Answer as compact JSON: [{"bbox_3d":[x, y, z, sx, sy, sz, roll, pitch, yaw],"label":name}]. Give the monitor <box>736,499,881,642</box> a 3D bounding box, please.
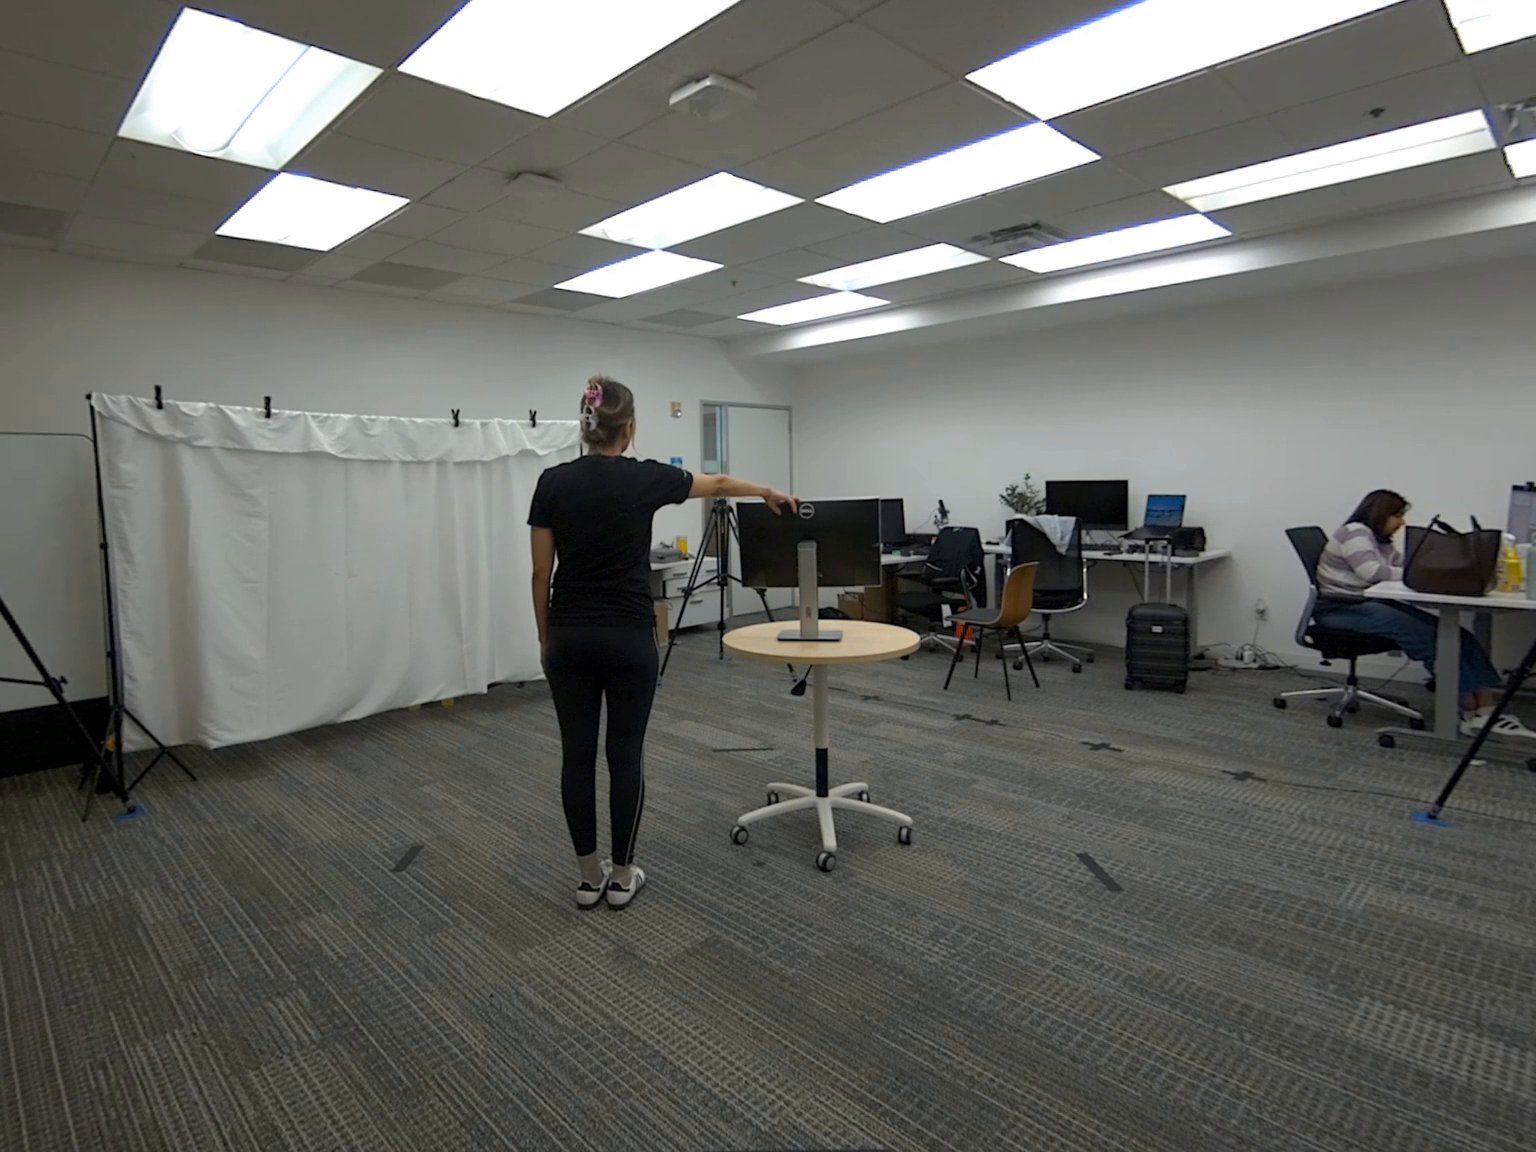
[{"bbox_3d":[0.156,-0.022,3.329,0.544,0.521,0.186,-1,4,9],"label":"monitor"}]
